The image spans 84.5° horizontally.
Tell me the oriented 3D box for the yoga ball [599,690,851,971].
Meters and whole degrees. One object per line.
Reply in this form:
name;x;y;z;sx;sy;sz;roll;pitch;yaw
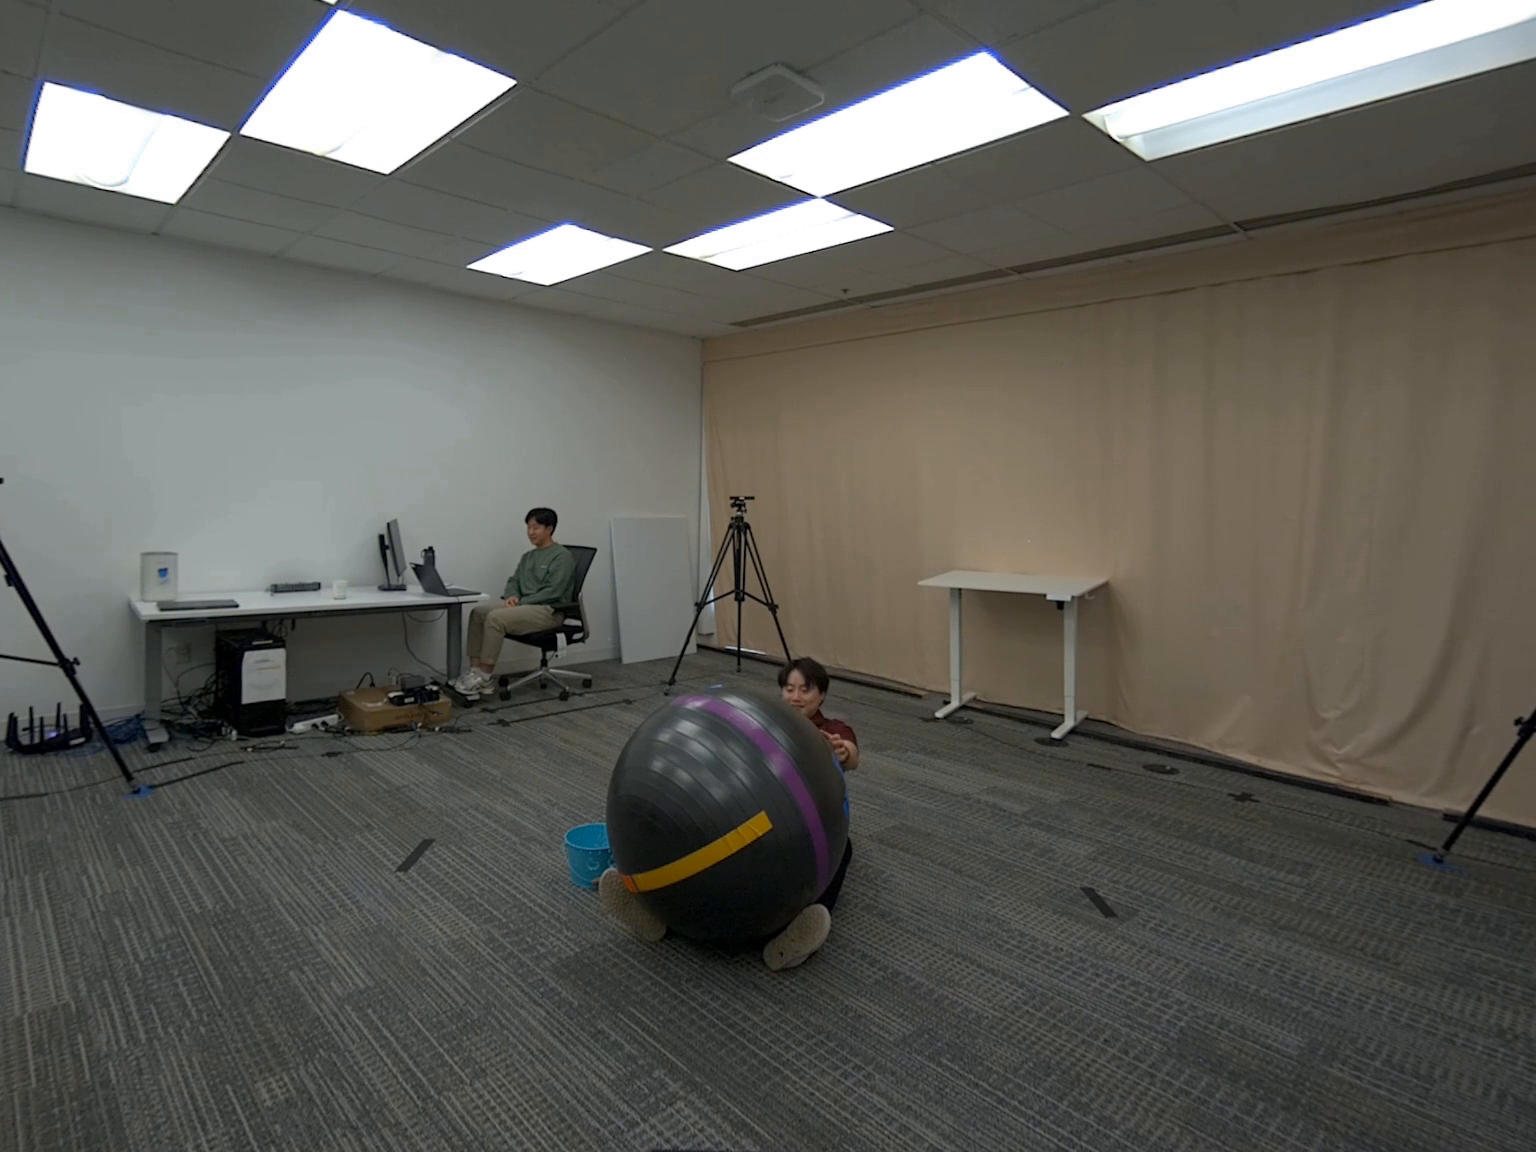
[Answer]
yoga ball;-0.124;0.731;2.628;0.757;0.756;0.761;1;4;-1
